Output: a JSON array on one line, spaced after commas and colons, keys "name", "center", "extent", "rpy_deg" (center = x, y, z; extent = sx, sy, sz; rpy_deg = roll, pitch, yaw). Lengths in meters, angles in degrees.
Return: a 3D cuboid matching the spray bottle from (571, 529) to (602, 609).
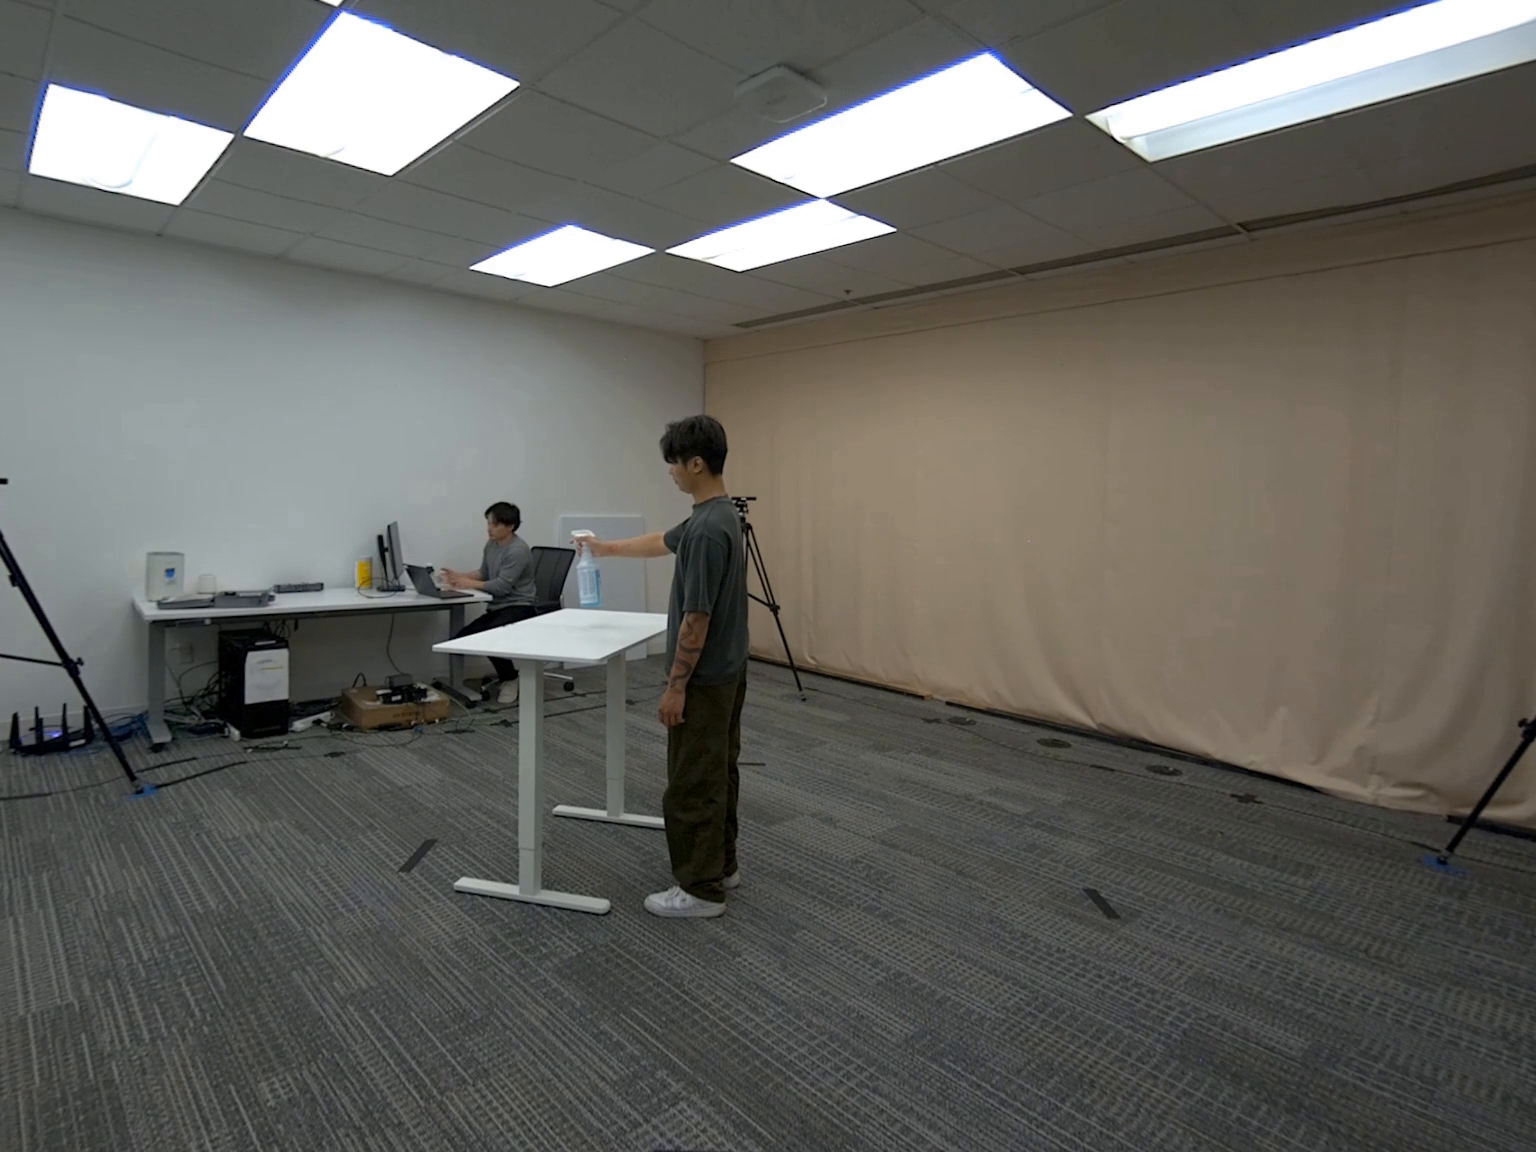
[{"name": "spray bottle", "center": [-0.703, -0.029, 3.260], "extent": [0.092, 0.297, 0.085], "rpy_deg": [-6, 0, 33]}]
